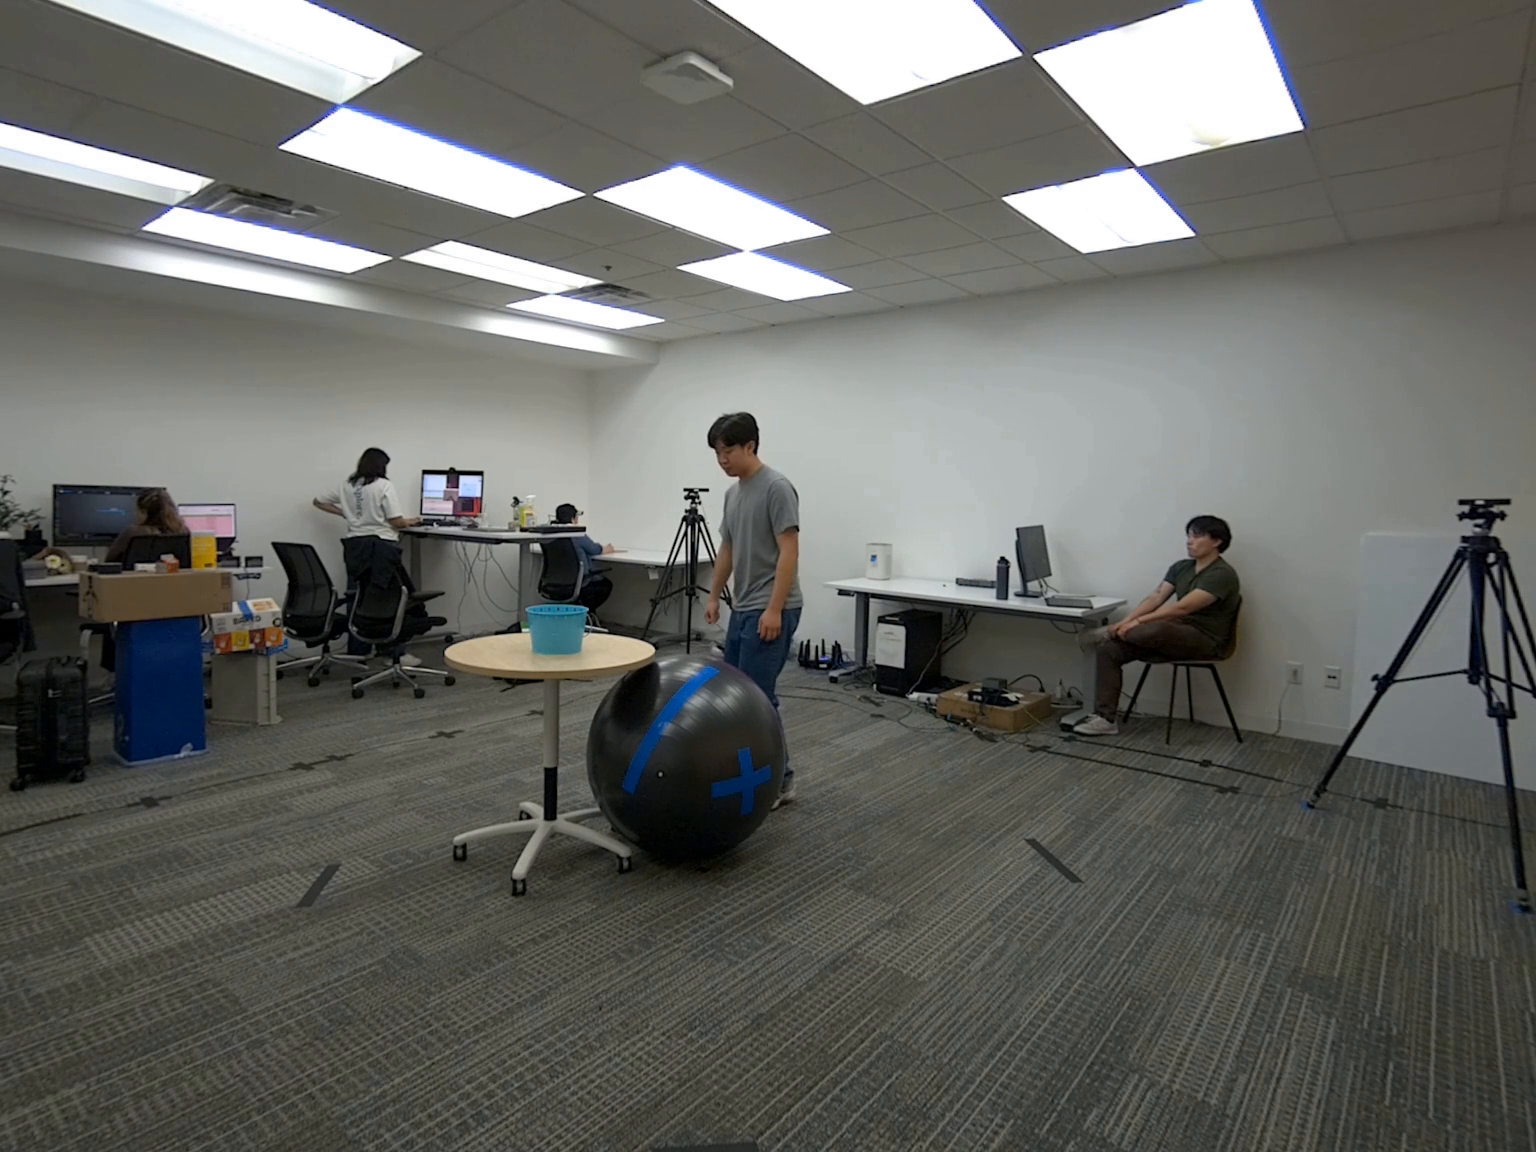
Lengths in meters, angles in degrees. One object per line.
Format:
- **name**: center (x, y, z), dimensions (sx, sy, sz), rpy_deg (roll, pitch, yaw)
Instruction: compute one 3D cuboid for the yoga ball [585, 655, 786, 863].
- **yoga ball**: center (-0.326, 0.687, 3.258), dimensions (0.757, 0.755, 0.762), rpy_deg (1, 4, -2)
